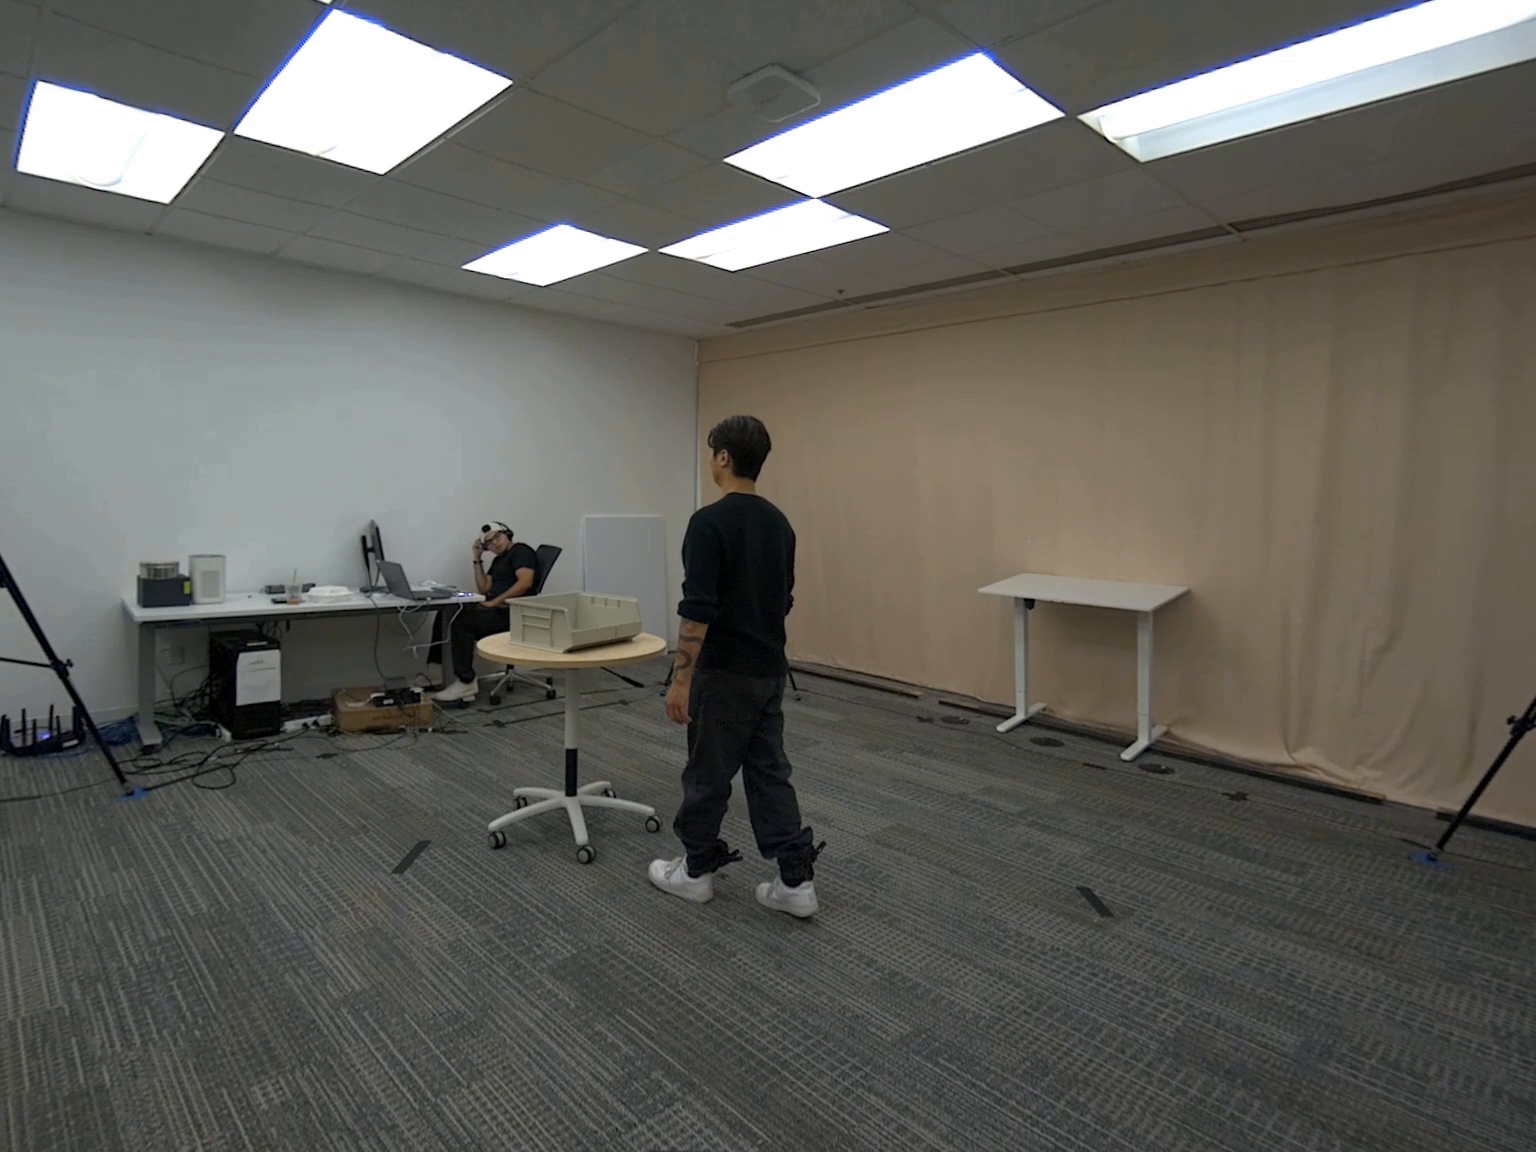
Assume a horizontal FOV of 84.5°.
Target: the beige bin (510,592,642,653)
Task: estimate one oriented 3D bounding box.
[{"bbox_3d":[-0.804,0.189,3.474,0.386,0.188,0.414,4,6,33],"label":"beige bin"}]
